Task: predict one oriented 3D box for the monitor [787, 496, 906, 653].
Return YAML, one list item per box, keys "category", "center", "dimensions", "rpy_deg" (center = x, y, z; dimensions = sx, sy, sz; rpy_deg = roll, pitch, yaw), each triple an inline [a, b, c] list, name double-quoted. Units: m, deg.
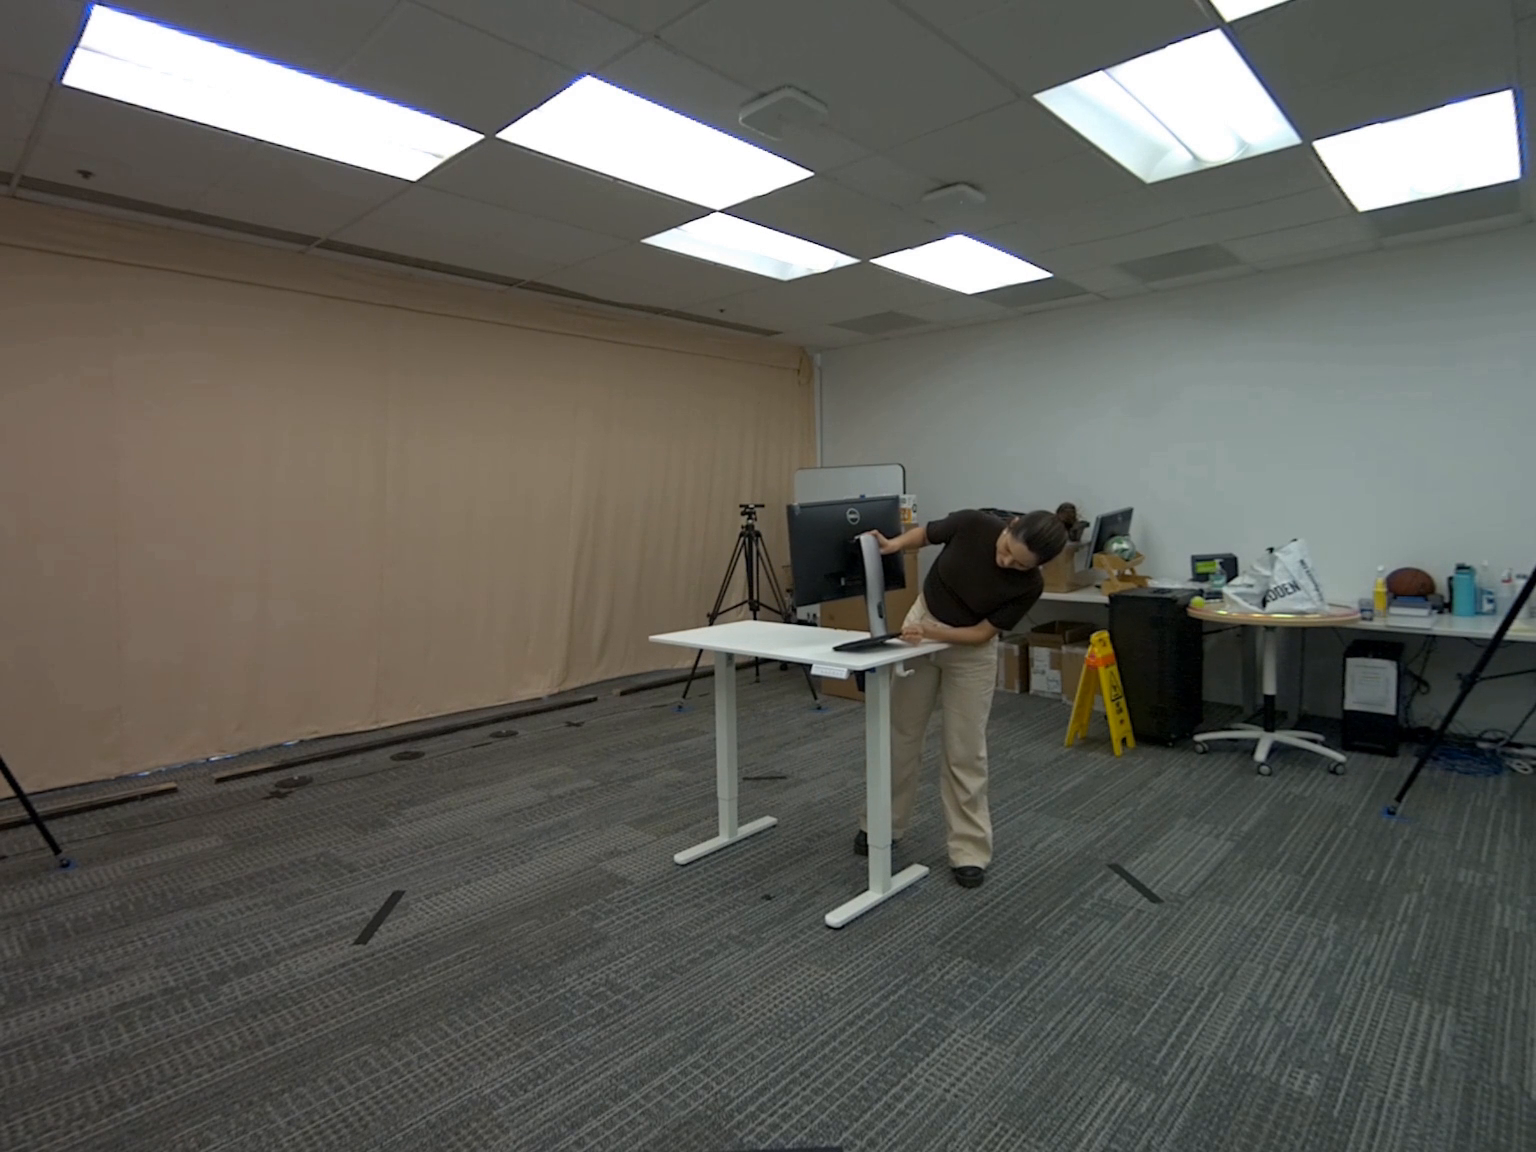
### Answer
- category: "monitor"
  center: [0.331, -0.015, 2.968]
  dimensions: [0.524, 0.526, 0.191]
  rpy_deg: [-7, -9, -36]
